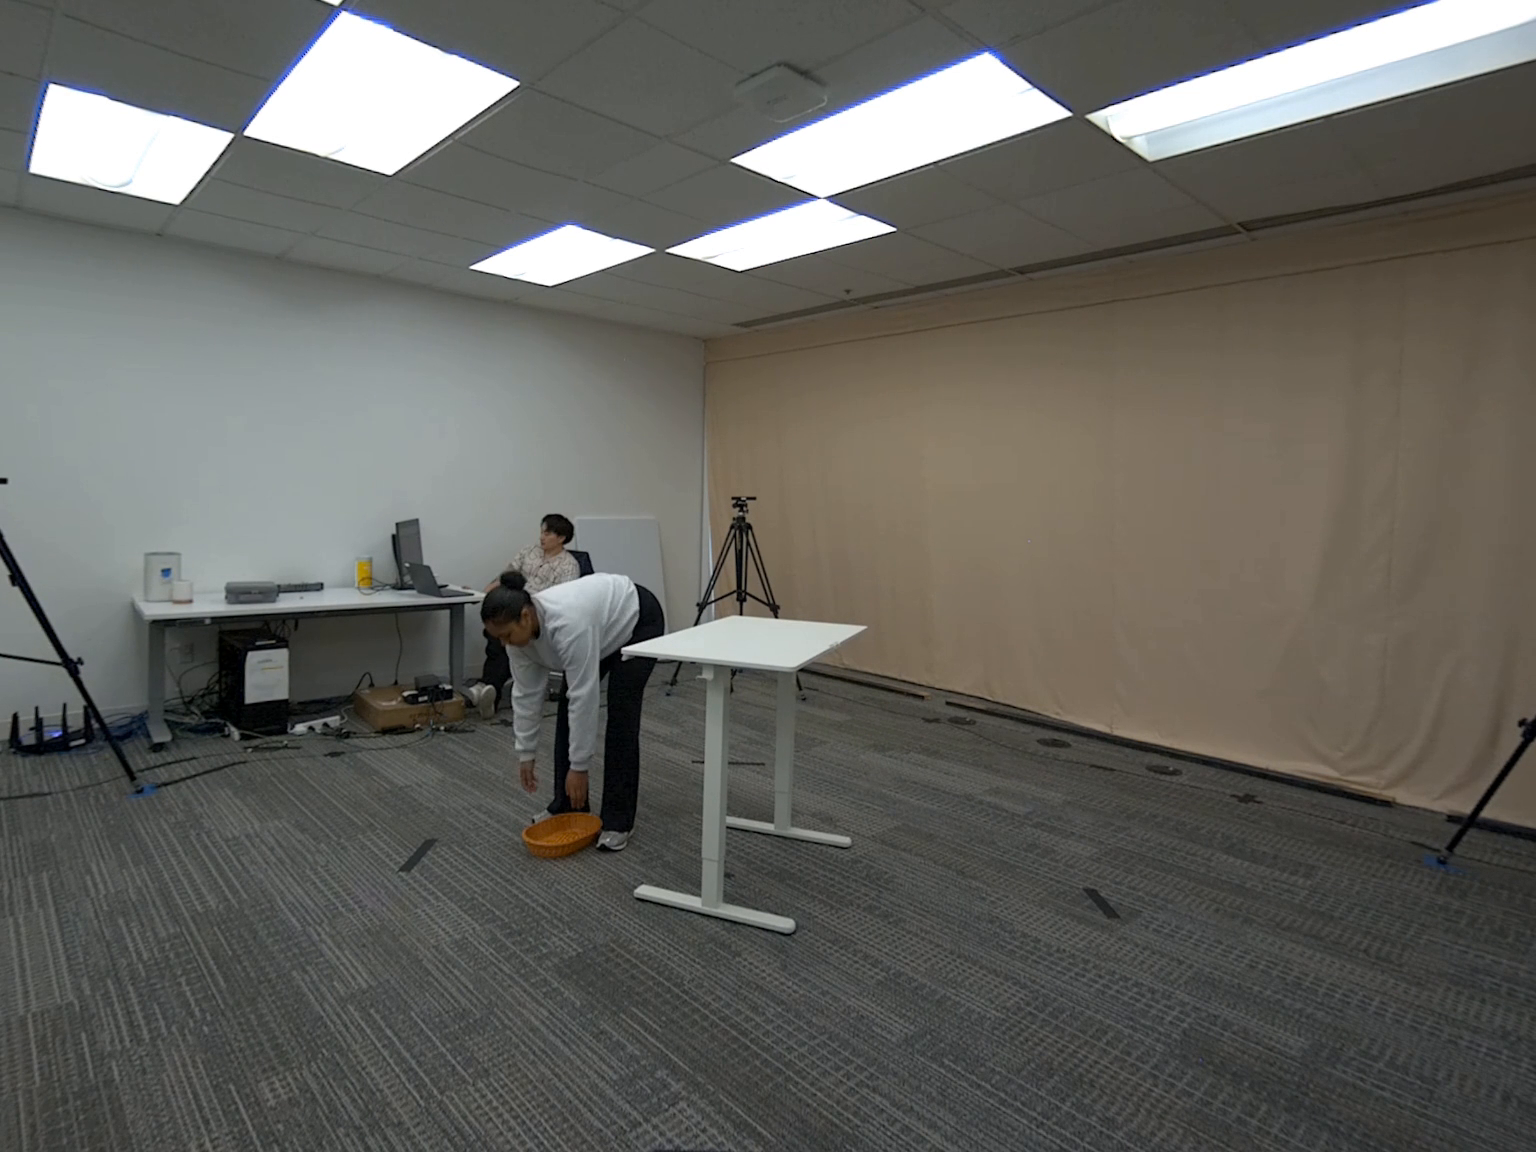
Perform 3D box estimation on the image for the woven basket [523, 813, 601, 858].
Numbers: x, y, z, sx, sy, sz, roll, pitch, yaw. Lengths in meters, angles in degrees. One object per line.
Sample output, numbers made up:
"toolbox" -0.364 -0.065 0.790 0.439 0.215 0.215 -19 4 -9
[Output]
"woven basket" -0.818 1.027 3.340 0.258 0.073 0.343 5 7 36
